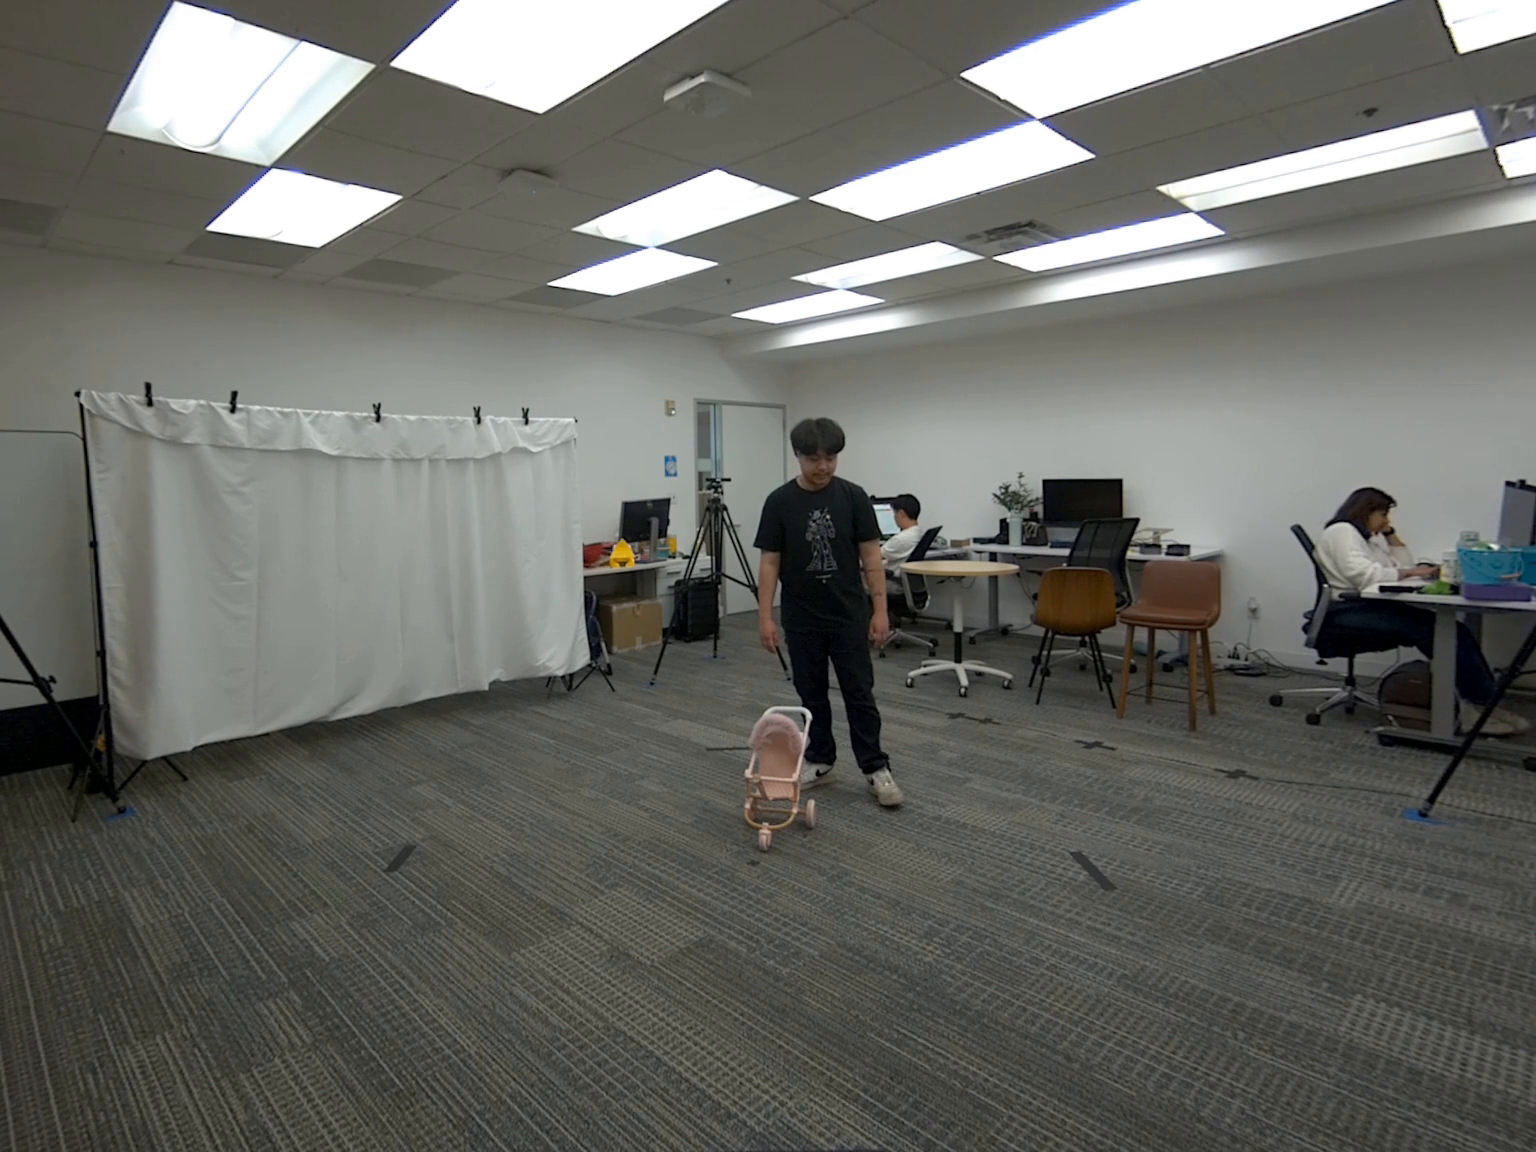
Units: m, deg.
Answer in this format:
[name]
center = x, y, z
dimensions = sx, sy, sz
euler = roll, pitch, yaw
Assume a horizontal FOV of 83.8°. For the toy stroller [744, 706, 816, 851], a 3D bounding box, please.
[toy stroller]
center = 0.029, 0.786, 3.378
dimensions = 0.287, 0.540, 0.332
euler = 0, -11, 20
